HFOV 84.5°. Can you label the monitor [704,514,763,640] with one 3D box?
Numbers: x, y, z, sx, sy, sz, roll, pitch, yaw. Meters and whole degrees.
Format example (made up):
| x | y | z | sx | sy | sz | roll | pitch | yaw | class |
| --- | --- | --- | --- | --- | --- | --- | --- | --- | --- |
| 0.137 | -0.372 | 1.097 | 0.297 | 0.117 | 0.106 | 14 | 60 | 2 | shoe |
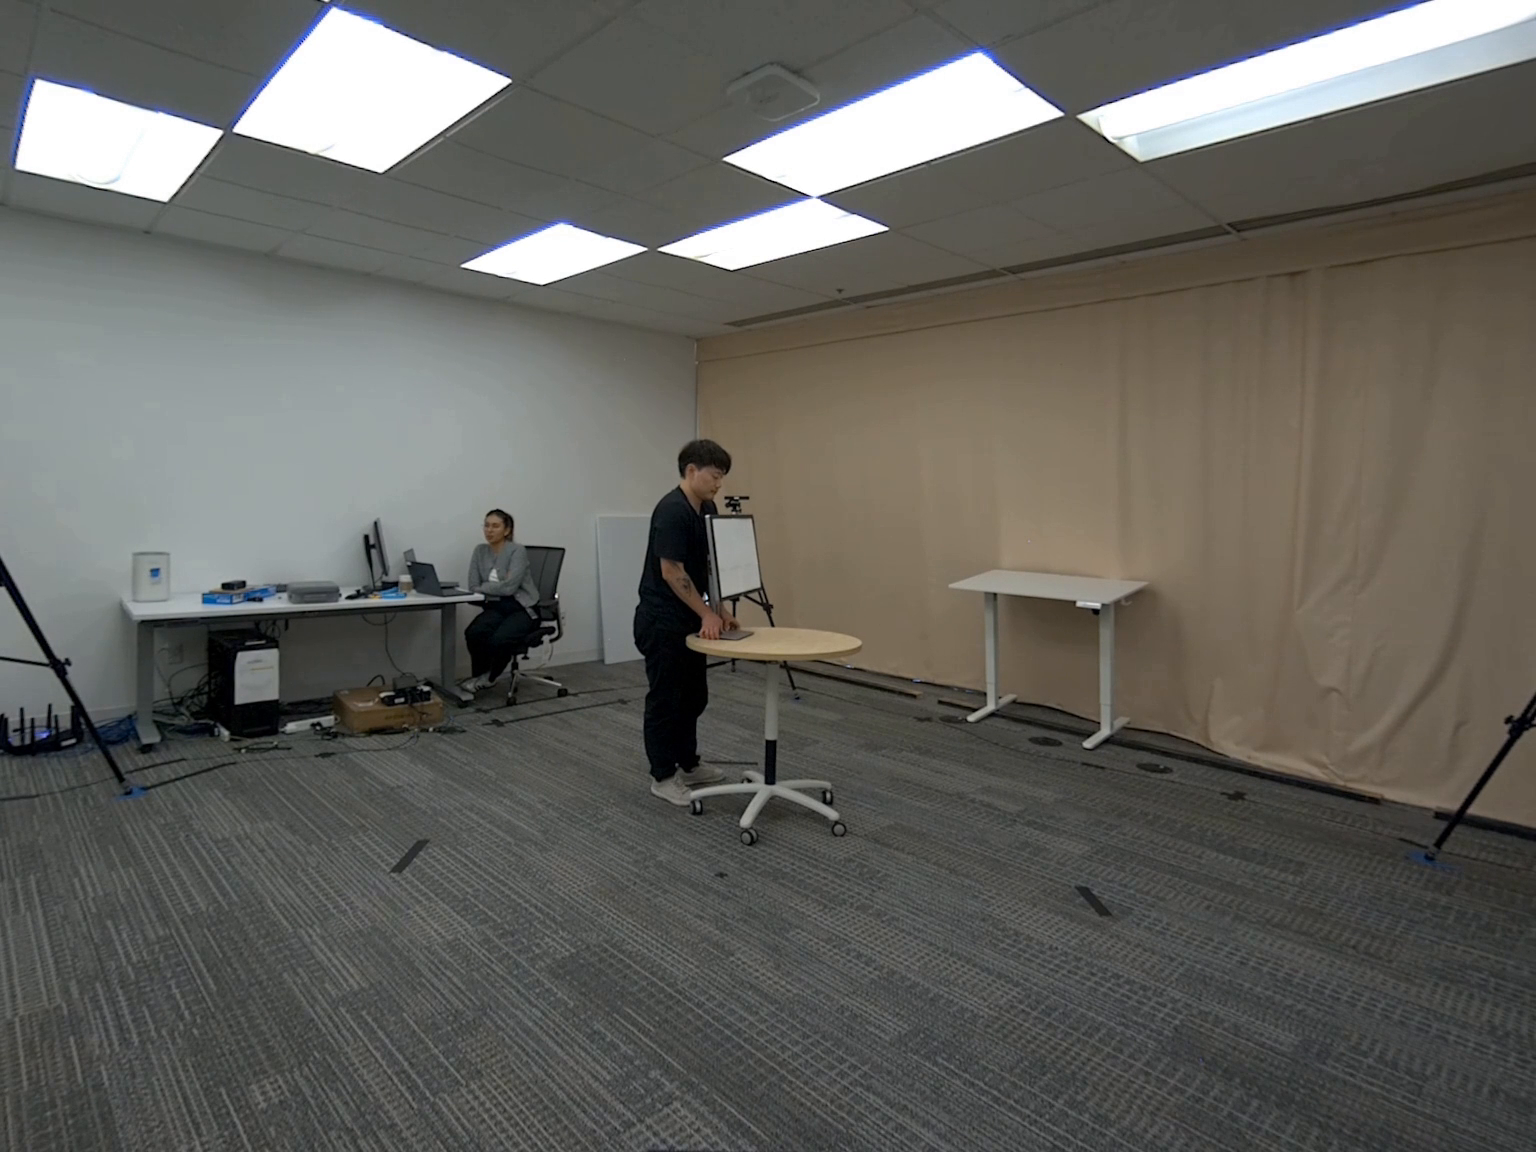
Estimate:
| x | y | z | sx | sy | sz | roll | pitch | yaw | class |
| --- | --- | --- | --- | --- | --- | --- | --- | --- | --- |
| -0.188 | -0.006 | 3.754 | 0.190 | 0.521 | 0.532 | 5 | 4 | 17 | monitor |
